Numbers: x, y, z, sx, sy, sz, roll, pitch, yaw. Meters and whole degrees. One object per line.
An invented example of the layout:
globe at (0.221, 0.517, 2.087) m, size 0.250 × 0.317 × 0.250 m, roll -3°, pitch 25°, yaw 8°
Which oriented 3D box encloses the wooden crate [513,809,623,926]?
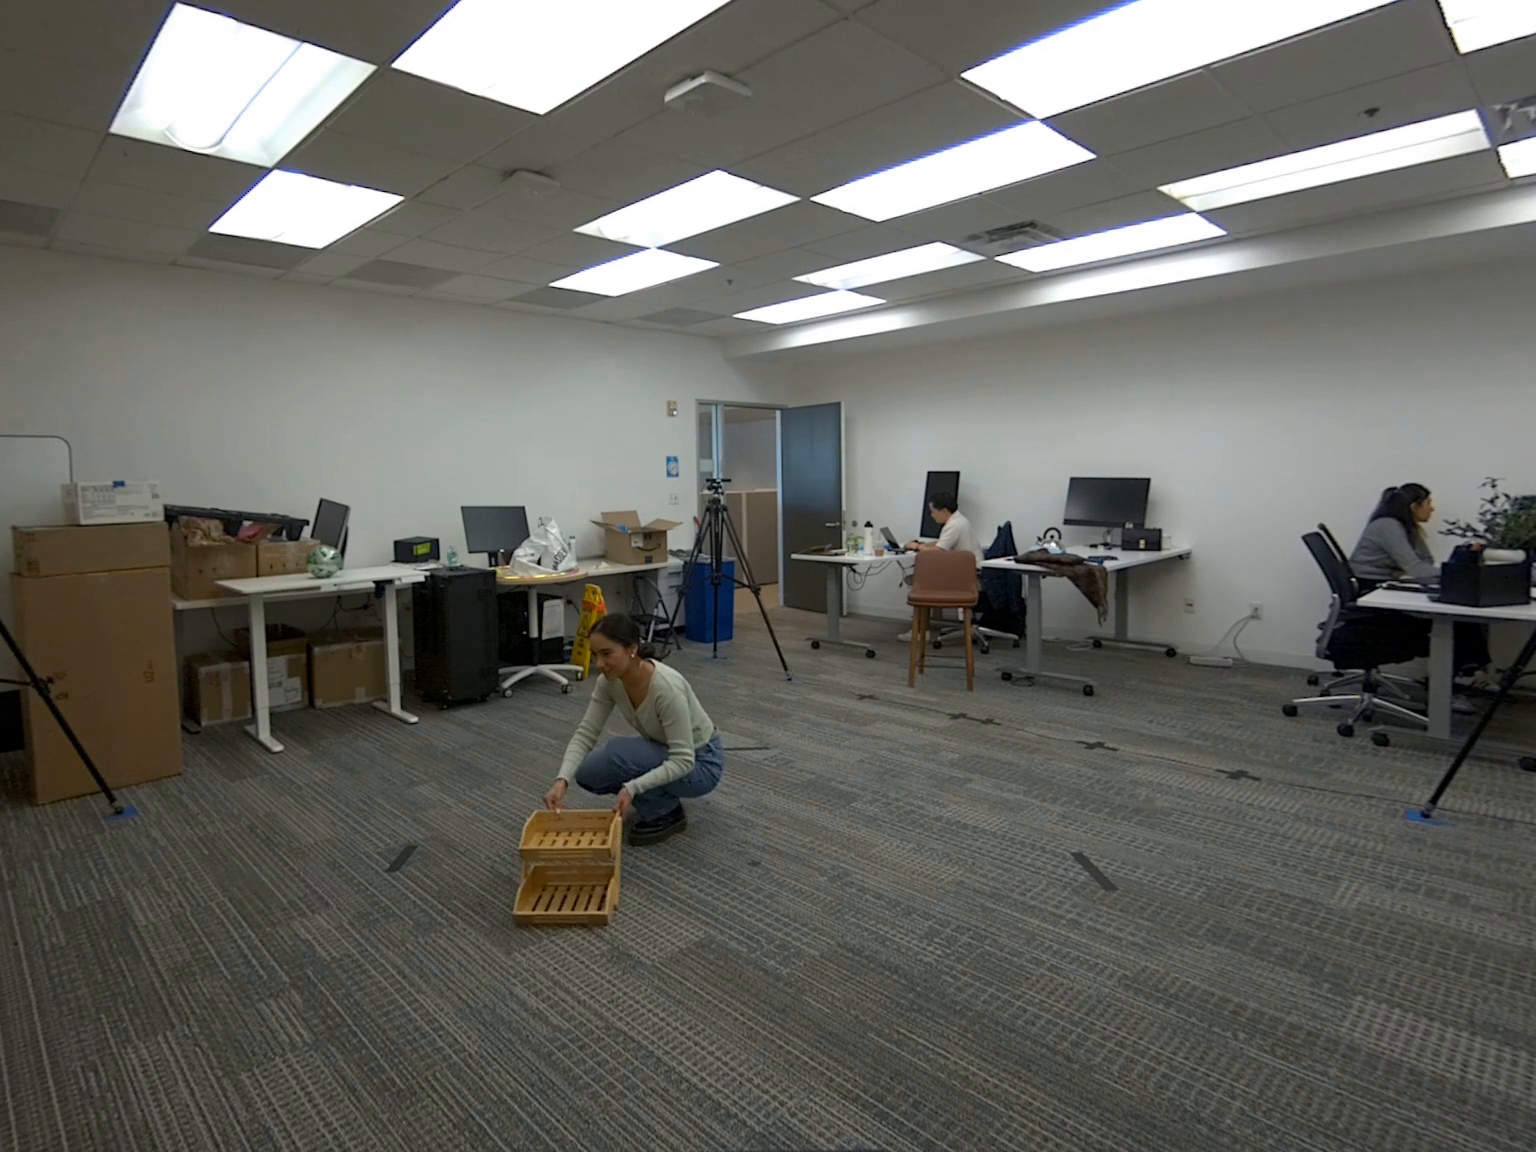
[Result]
wooden crate at (-0.656, 0.959, 2.821) m, size 0.325 × 0.272 × 0.303 m, roll -1°, pitch 5°, yaw 0°
